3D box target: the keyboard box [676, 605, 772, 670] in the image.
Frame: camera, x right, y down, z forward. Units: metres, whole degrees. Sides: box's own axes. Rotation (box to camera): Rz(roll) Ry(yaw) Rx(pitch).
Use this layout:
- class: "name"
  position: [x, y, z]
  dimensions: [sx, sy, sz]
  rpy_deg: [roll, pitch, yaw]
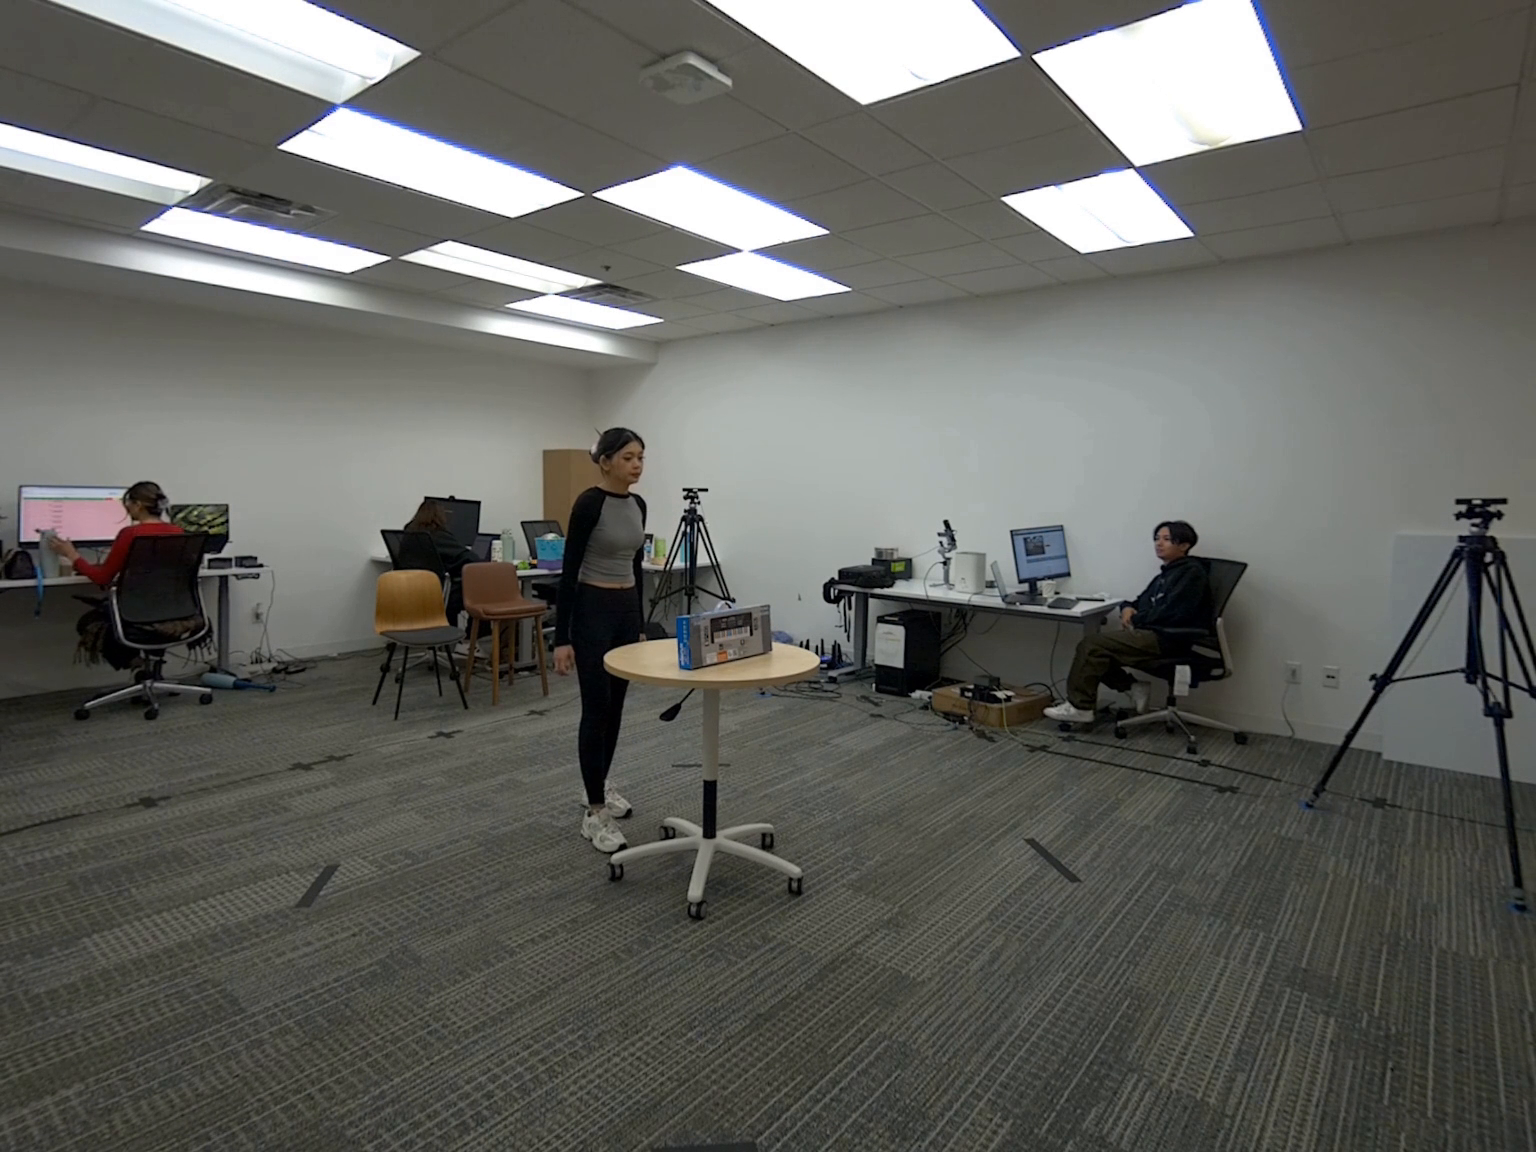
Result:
- class: "keyboard box"
  position: [-0.152, 0.205, 2.966]
  dimensions: [0.061, 0.176, 0.424]
  rpy_deg: [-3, 1, 40]
